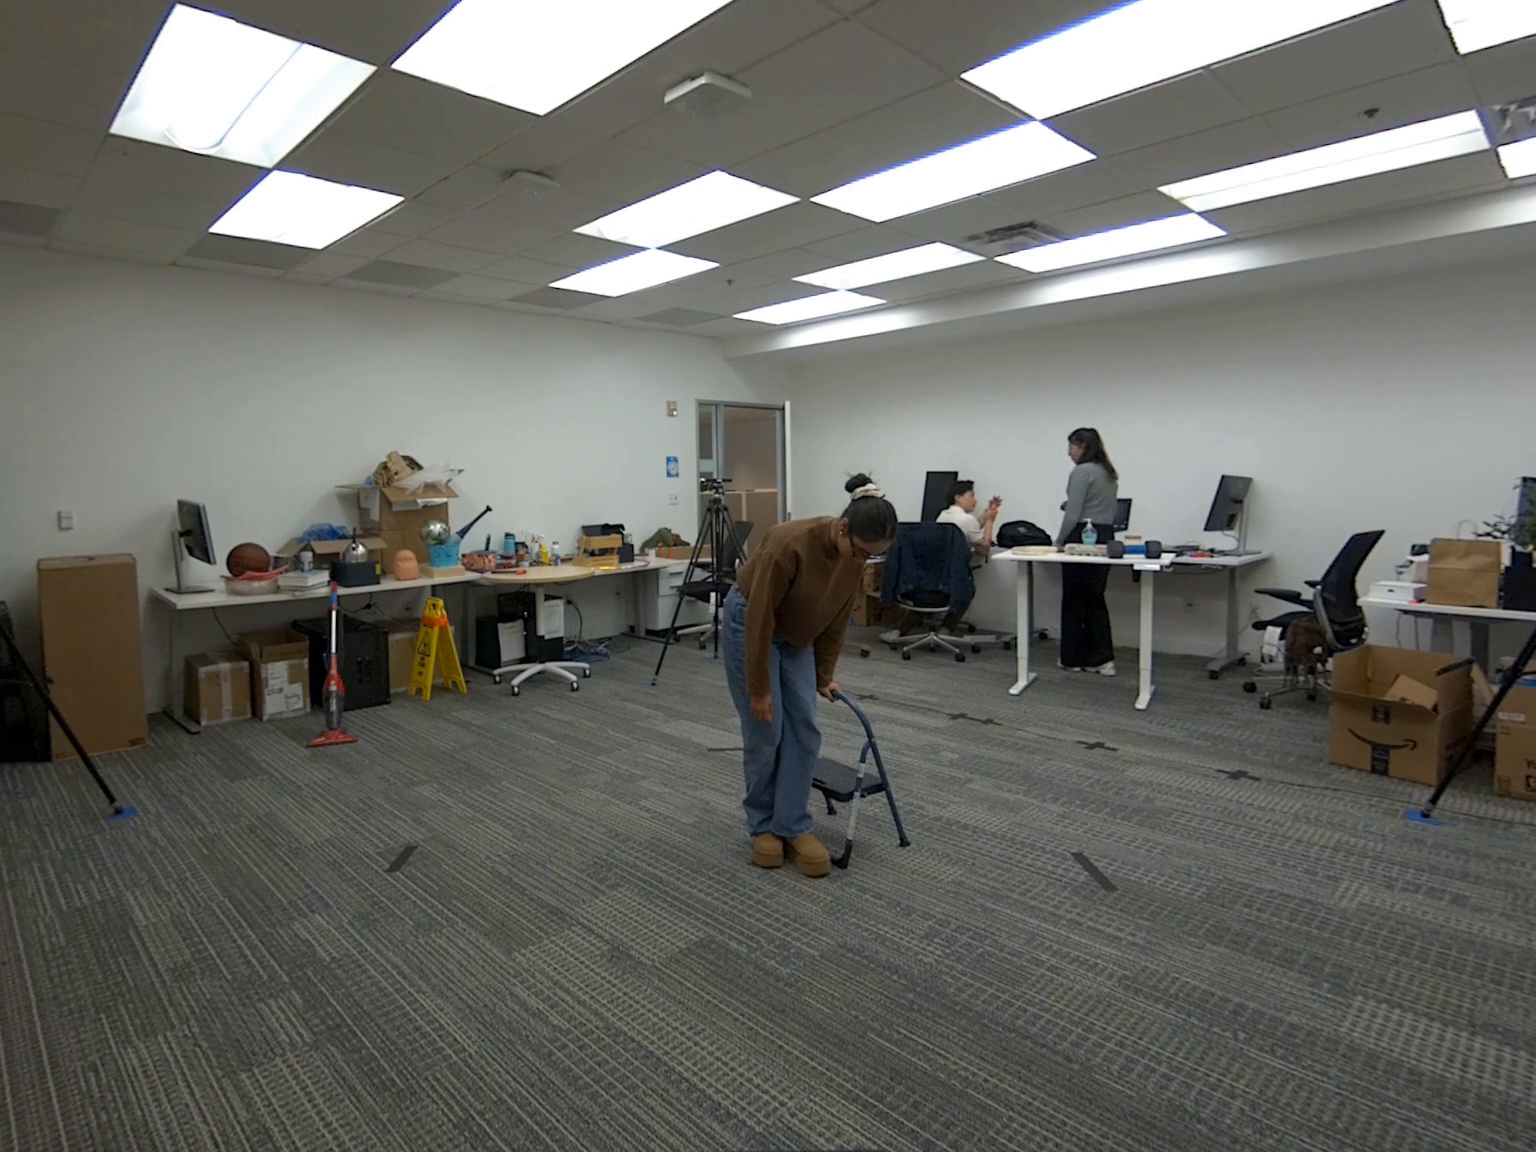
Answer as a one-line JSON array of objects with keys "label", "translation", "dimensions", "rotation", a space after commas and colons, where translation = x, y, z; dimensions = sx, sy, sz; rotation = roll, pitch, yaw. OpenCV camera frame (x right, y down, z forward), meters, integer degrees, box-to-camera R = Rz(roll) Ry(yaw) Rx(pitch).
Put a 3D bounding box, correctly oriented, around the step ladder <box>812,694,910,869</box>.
[{"label": "step ladder", "translation": [0.273, 0.713, 3.292], "dimensions": [0.340, 0.603, 0.444], "rotation": [-5, 6, -38]}]
